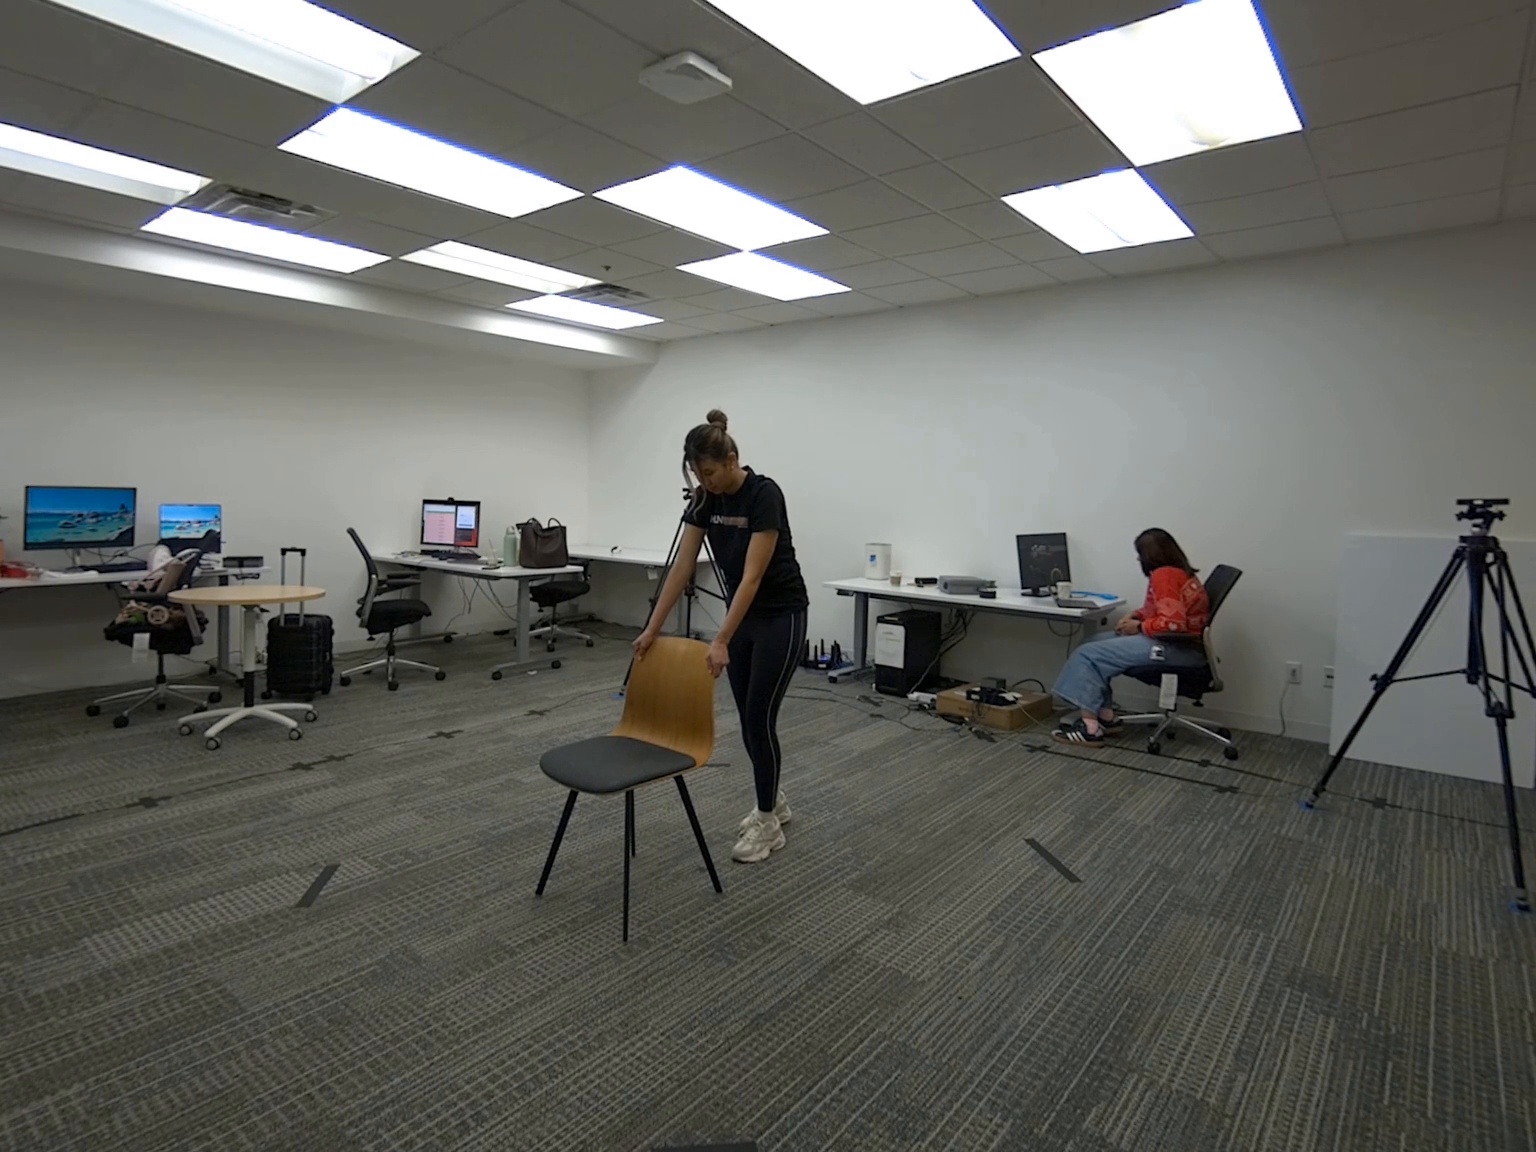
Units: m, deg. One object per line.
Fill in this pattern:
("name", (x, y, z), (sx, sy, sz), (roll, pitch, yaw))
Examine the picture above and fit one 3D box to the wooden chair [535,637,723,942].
("wooden chair", (-0.477, 0.662, 2.875), (0.494, 0.878, 0.506), (4, 0, 39))
